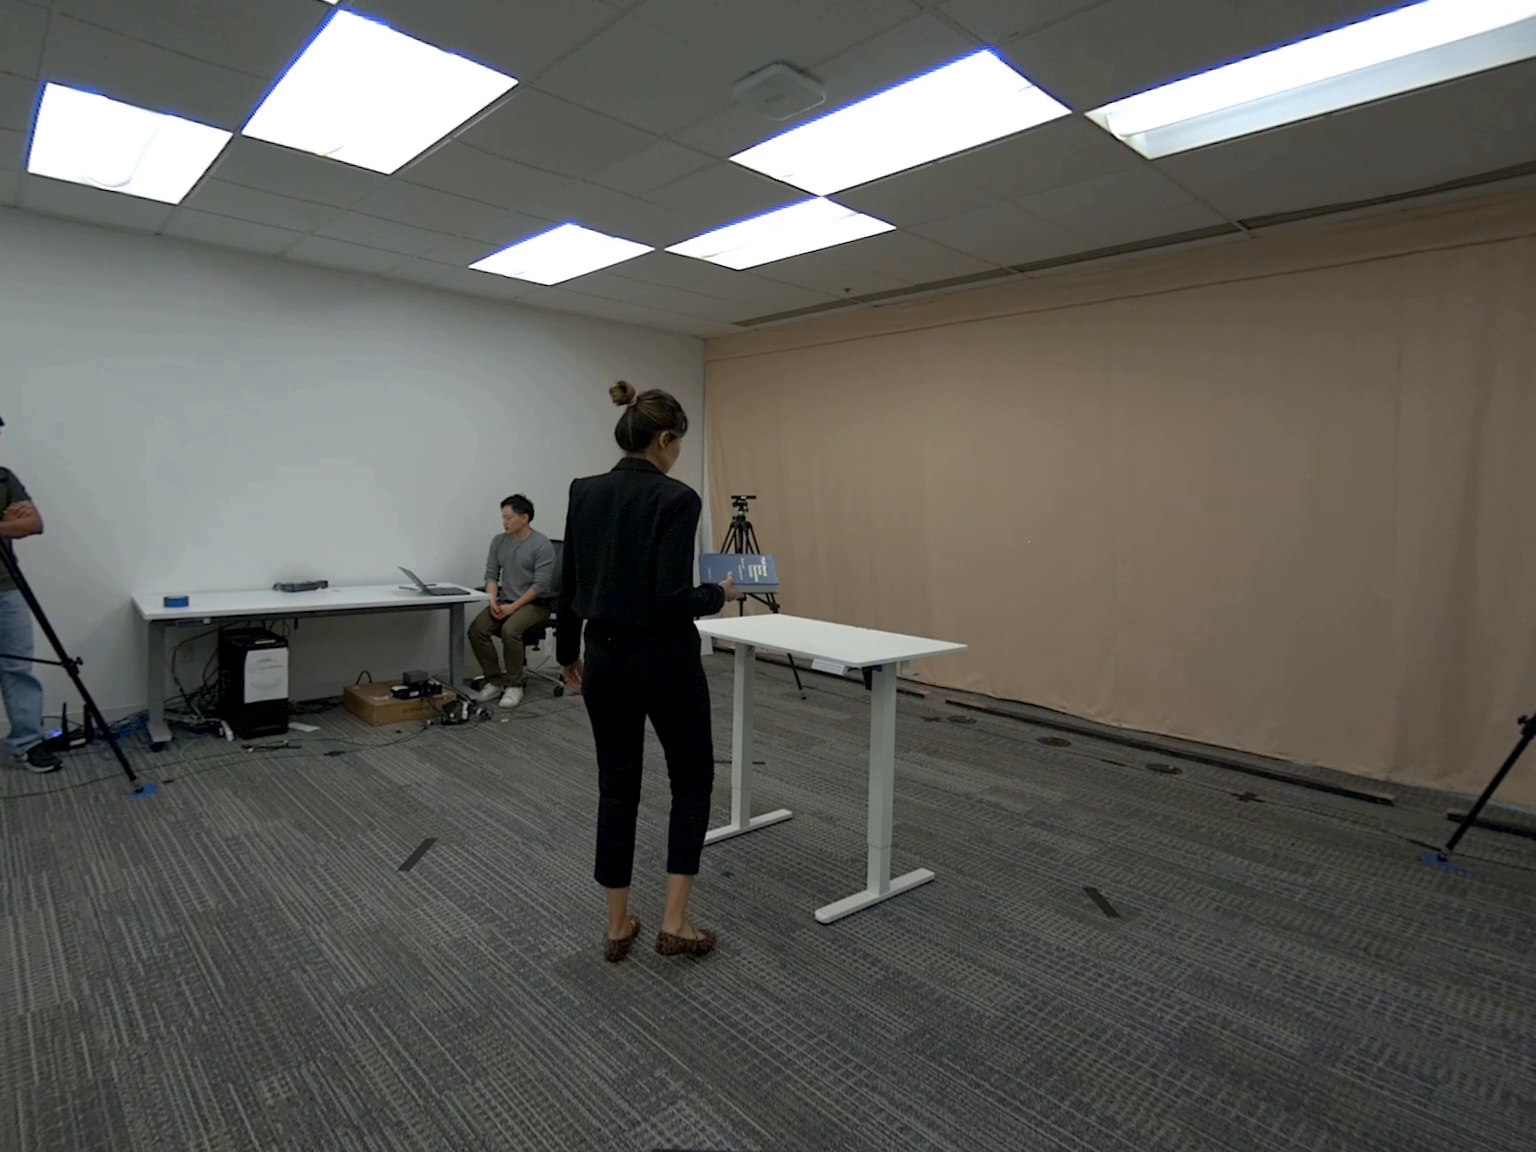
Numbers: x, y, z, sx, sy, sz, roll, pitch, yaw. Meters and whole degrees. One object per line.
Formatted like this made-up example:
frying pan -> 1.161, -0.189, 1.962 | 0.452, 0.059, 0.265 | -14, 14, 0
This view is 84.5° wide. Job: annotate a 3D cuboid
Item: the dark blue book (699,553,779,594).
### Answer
dark blue book -> -0.107, -0.008, 2.686 | 0.243, 0.044, 0.167 | 0, 35, -8
